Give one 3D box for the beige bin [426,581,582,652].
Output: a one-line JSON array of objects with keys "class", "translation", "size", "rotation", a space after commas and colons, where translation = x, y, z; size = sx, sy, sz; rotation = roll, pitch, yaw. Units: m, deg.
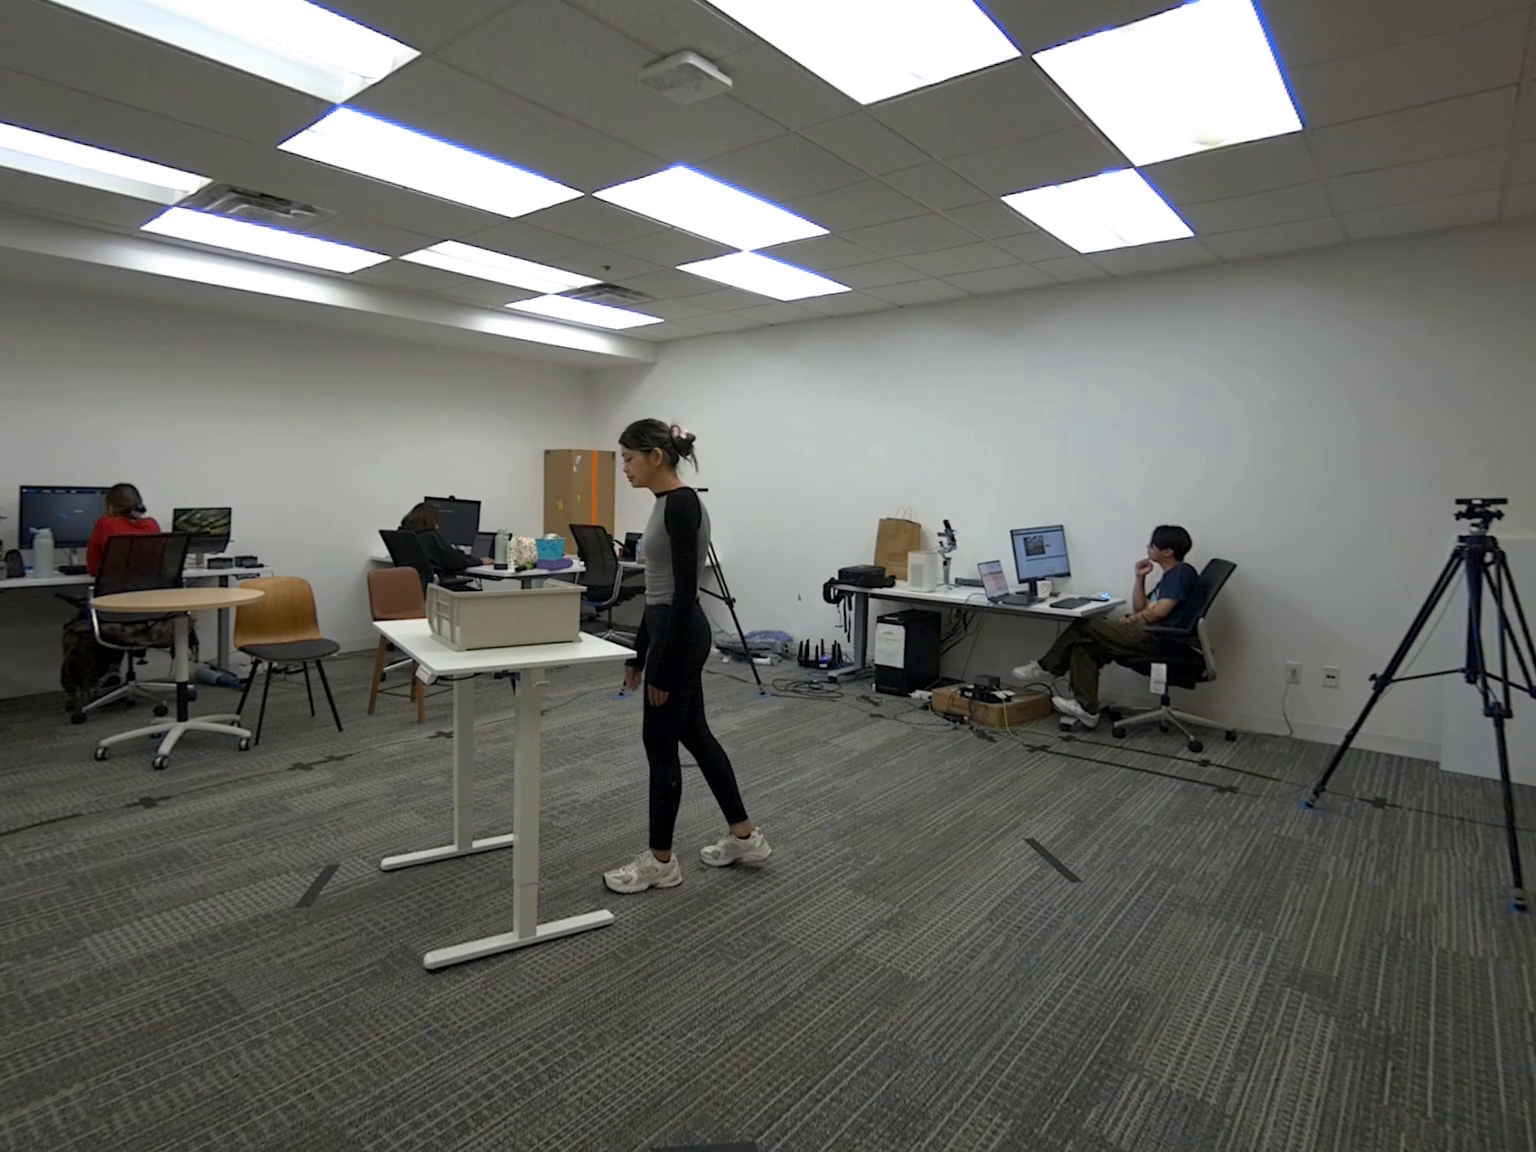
[{"class": "beige bin", "translation": [-0.886, 0.121, 2.803], "size": [0.410, 0.188, 0.389], "rotation": [-2, 6, -34]}]
